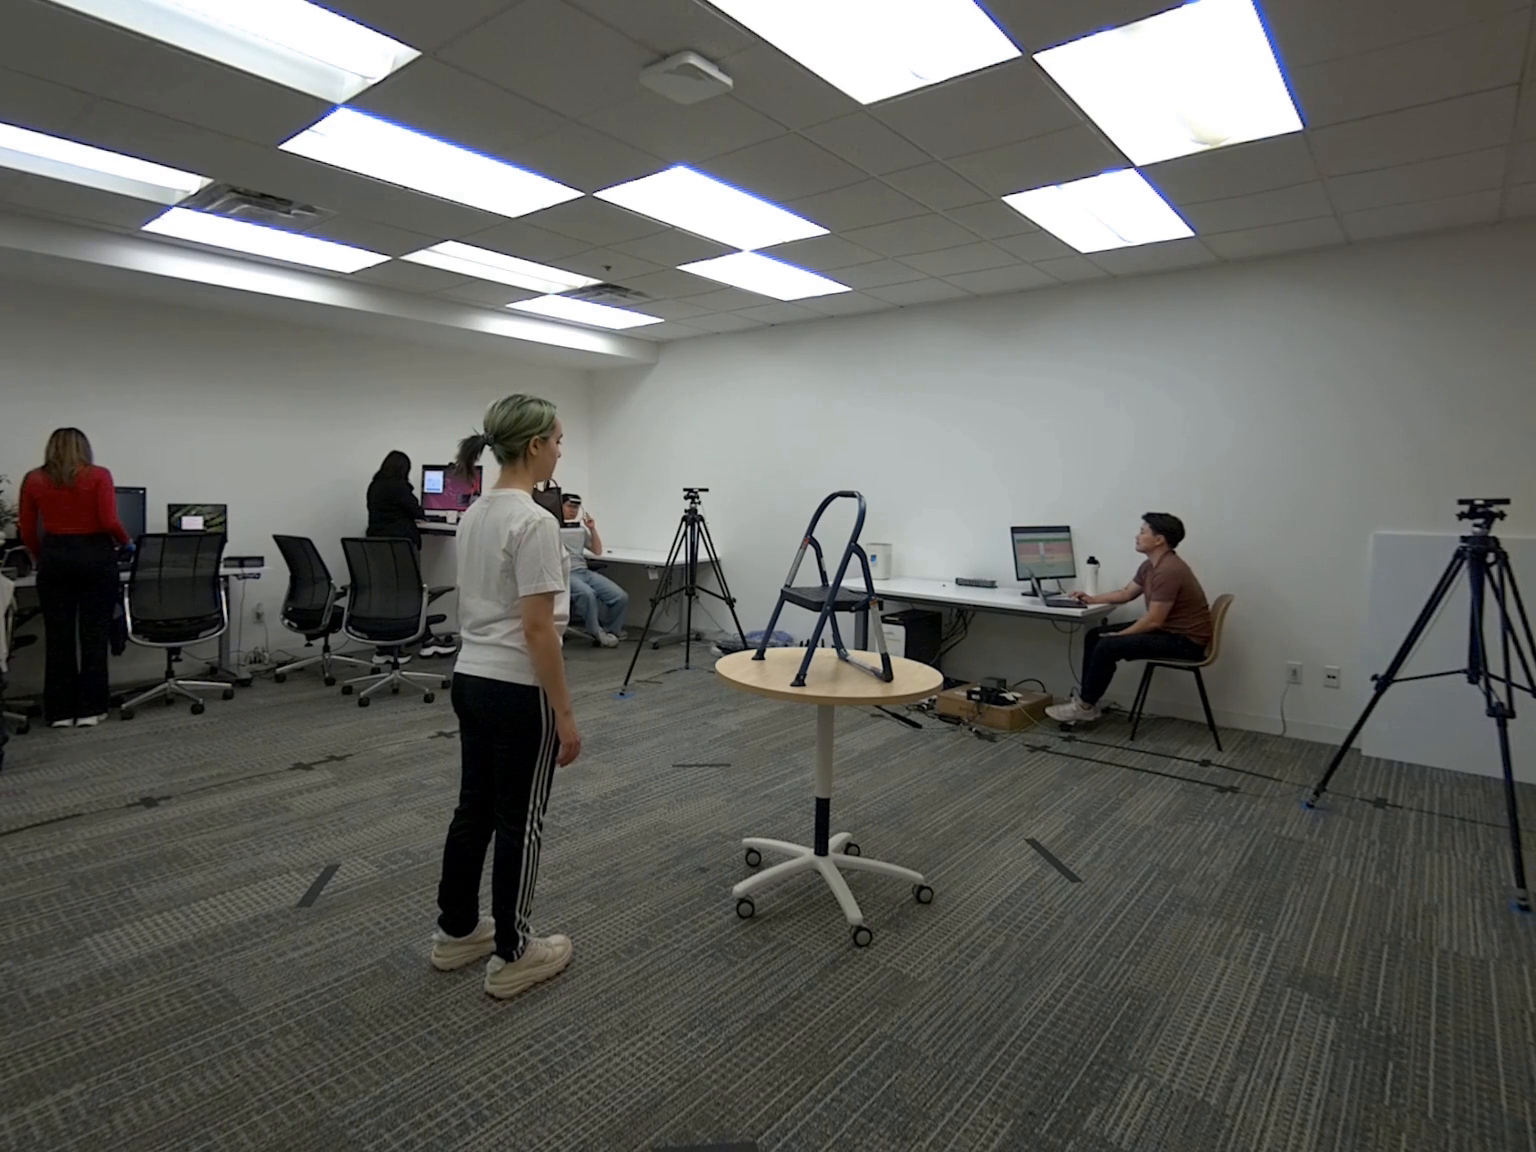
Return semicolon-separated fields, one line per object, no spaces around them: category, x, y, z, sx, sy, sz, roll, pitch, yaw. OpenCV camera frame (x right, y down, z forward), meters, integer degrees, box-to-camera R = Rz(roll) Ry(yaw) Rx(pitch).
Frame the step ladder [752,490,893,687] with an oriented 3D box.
step ladder;0.184;0.016;2.859;0.343;0.604;0.440;0;4;-18
